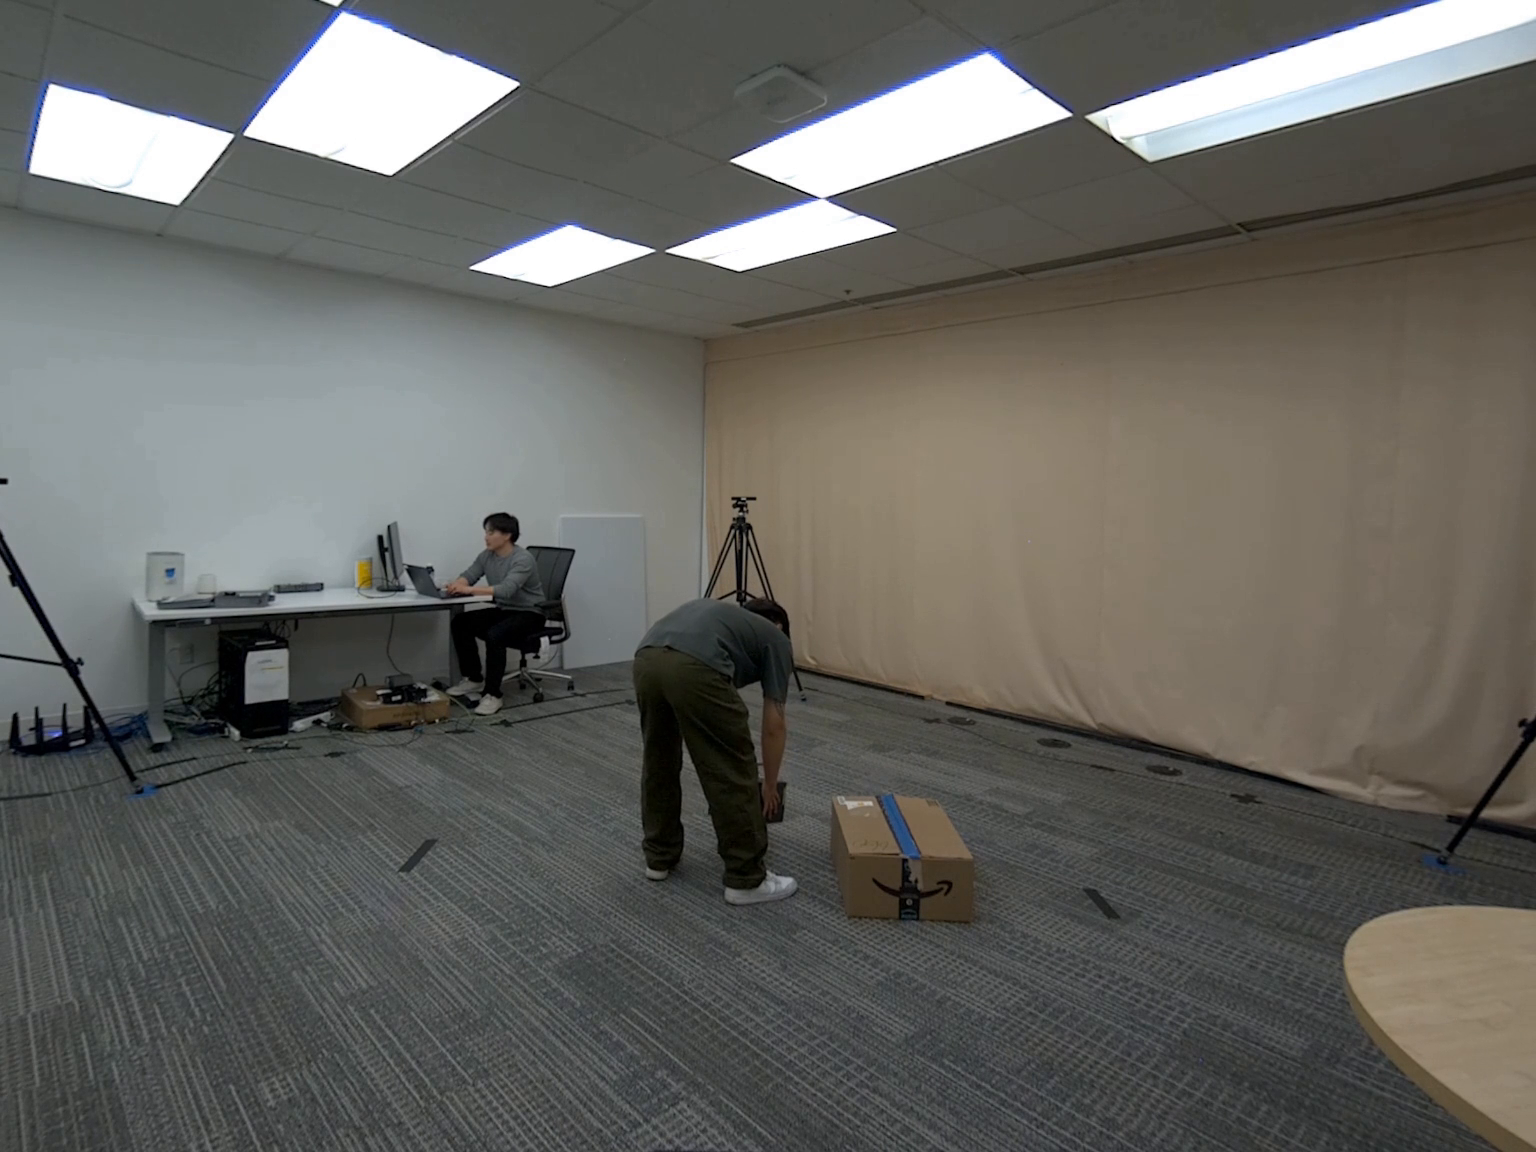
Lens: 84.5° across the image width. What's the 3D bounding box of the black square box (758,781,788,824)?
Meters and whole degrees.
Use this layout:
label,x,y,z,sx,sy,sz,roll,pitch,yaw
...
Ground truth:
label,x,y,z,sx,sy,sz,roll,pitch,yaw
black square box,-0.076,0.885,3.324,0.232,0.157,0.211,1,-11,28
